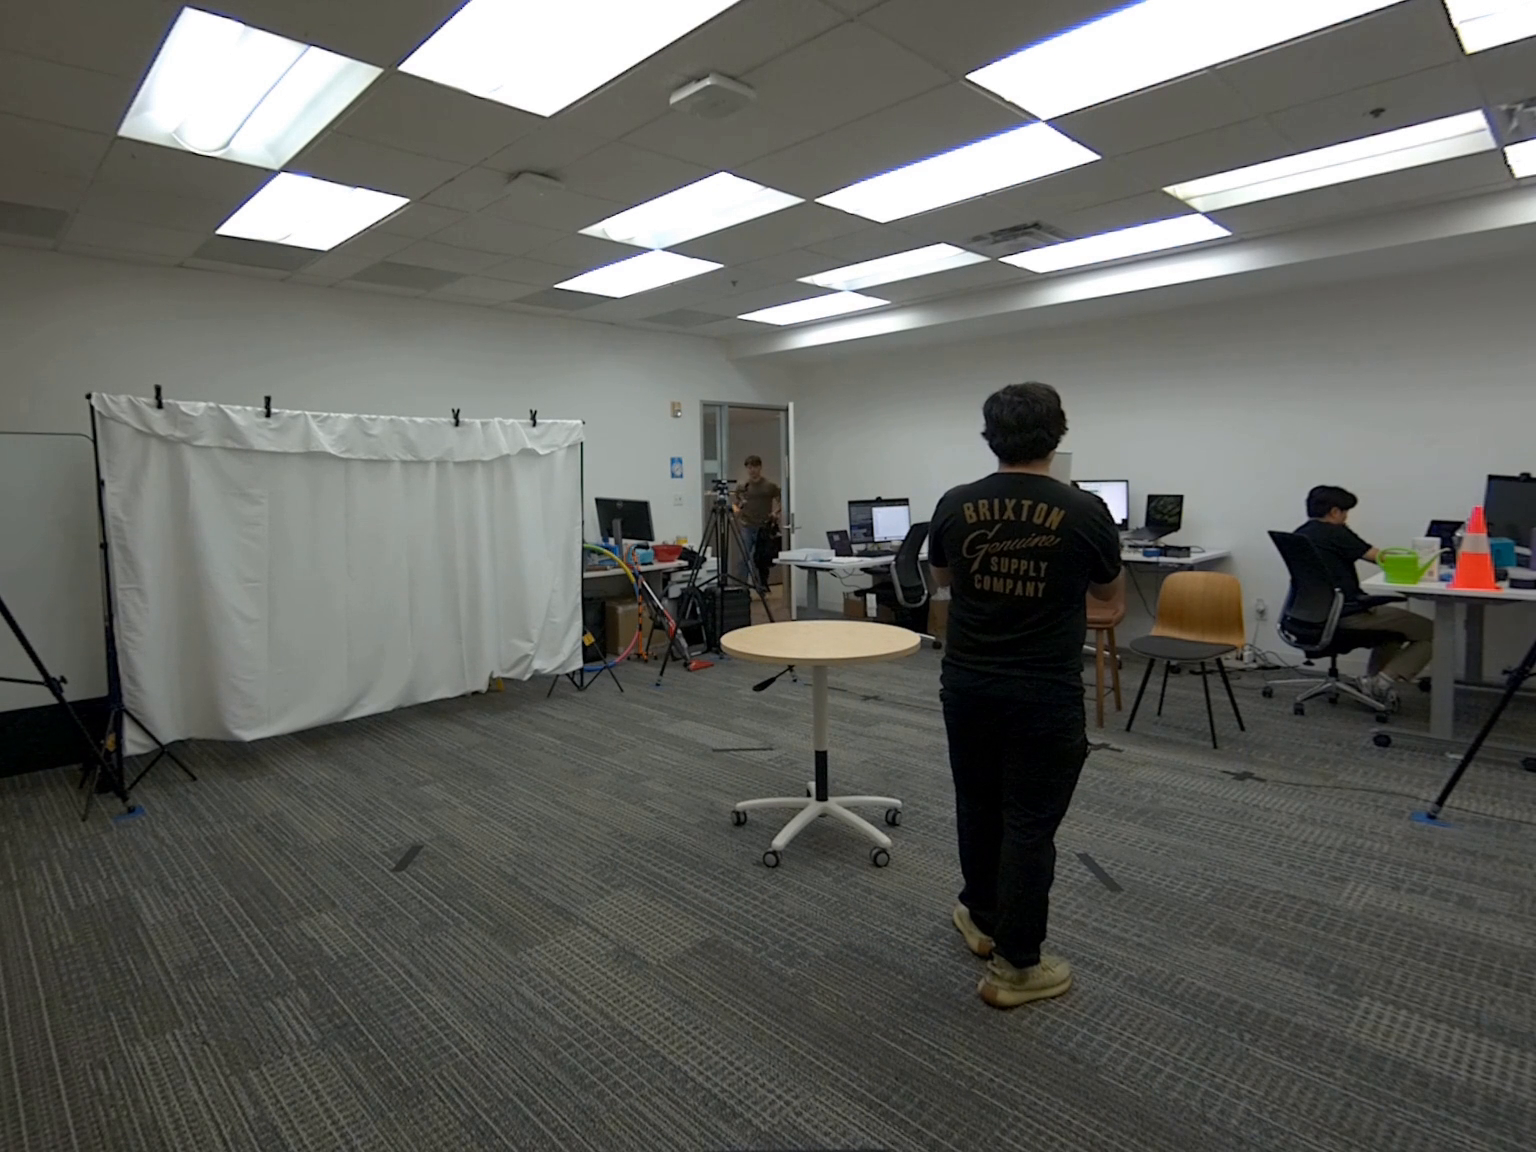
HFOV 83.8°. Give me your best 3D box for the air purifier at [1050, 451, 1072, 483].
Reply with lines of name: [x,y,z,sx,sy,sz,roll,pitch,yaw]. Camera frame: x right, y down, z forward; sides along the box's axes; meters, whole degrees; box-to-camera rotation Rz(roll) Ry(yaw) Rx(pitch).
air purifier: [0.839,-0.257,2.600,0.169,0.264,0.174,-4,7,-13]
